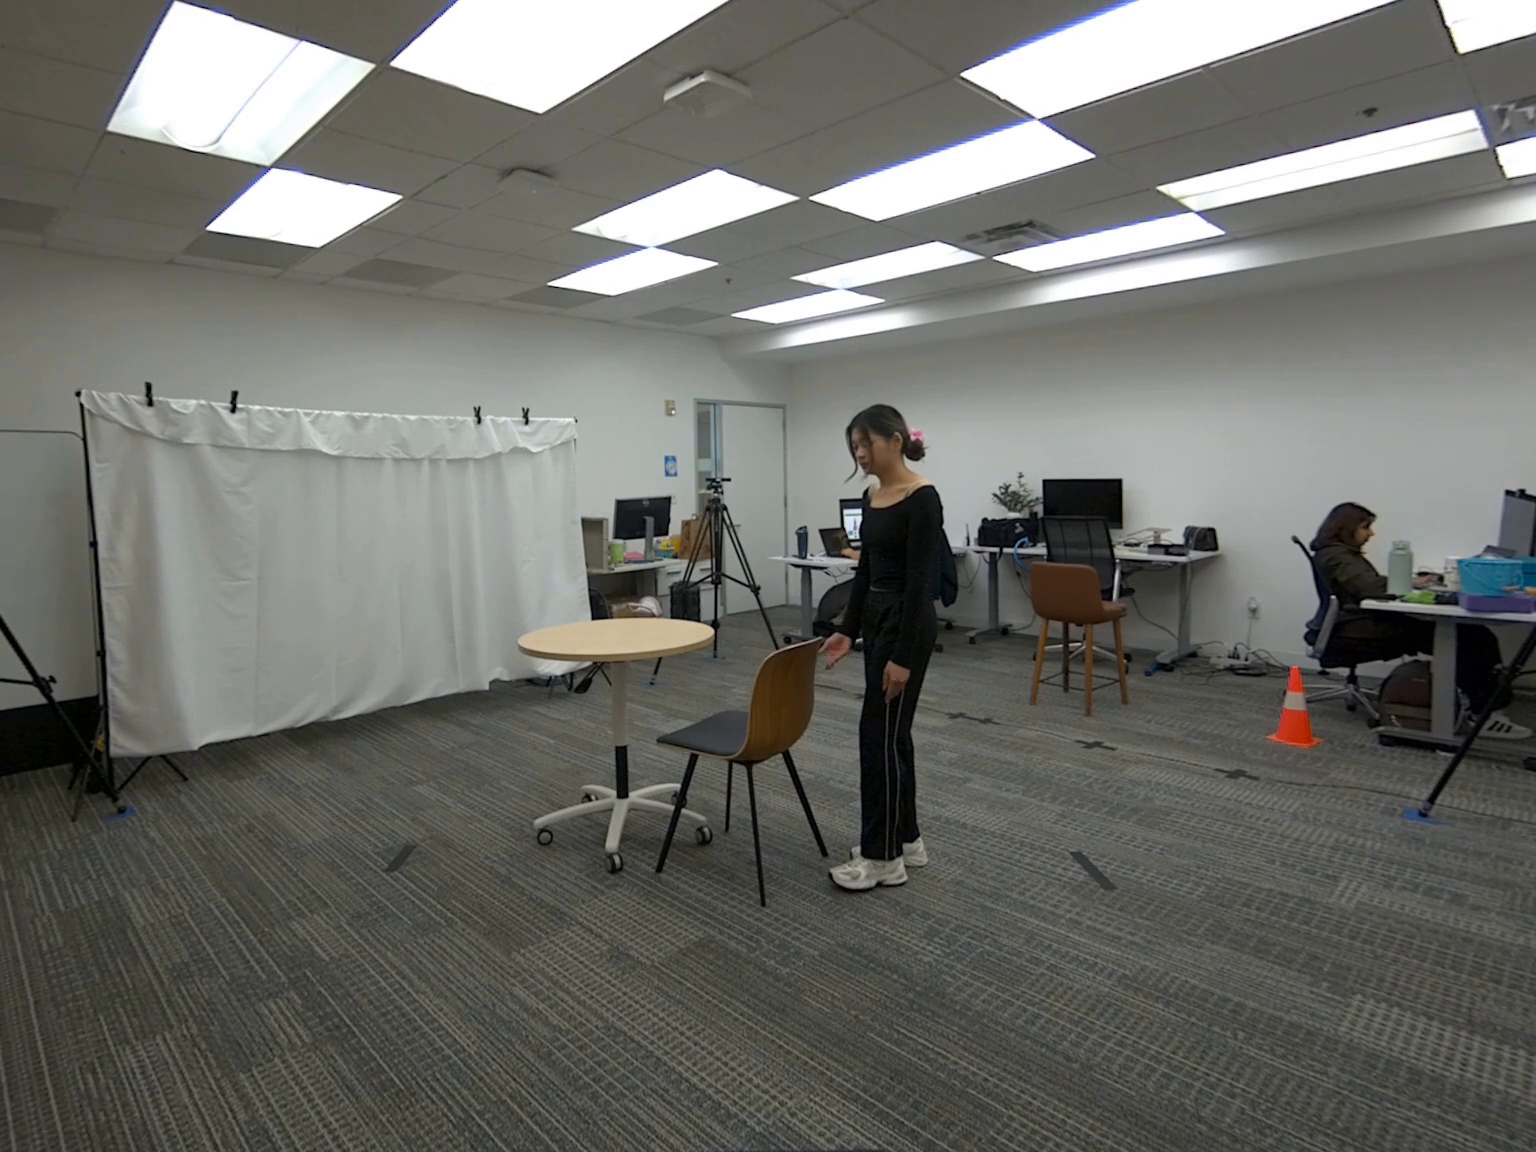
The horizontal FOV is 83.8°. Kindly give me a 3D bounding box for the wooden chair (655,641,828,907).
[{"bbox_3d":[-0.099,0.618,3.061,0.539,0.872,0.467,7,8,33],"label":"wooden chair"}]
